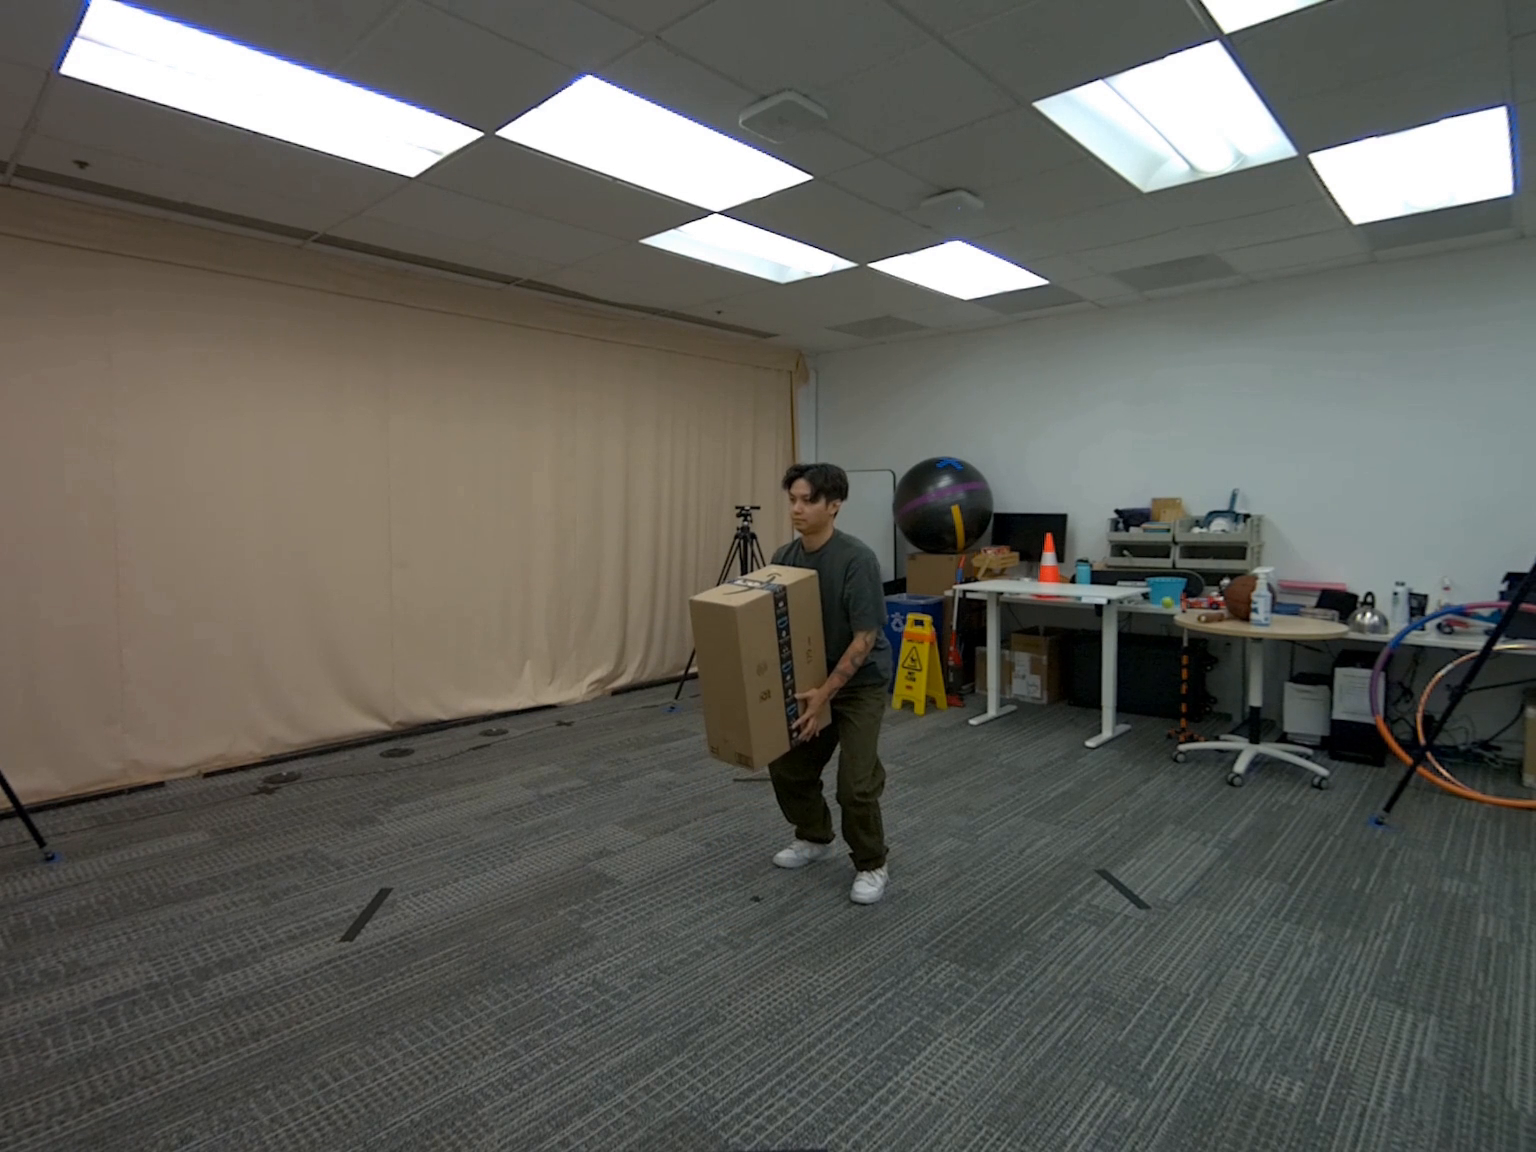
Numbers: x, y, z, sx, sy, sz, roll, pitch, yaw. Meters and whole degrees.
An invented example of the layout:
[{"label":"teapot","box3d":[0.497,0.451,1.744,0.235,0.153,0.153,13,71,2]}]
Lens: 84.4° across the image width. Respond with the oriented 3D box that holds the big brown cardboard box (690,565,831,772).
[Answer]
[{"label":"big brown cardboard box","box3d":[-0.017,0.297,2.871,0.241,0.583,0.407,5,17,43]}]
